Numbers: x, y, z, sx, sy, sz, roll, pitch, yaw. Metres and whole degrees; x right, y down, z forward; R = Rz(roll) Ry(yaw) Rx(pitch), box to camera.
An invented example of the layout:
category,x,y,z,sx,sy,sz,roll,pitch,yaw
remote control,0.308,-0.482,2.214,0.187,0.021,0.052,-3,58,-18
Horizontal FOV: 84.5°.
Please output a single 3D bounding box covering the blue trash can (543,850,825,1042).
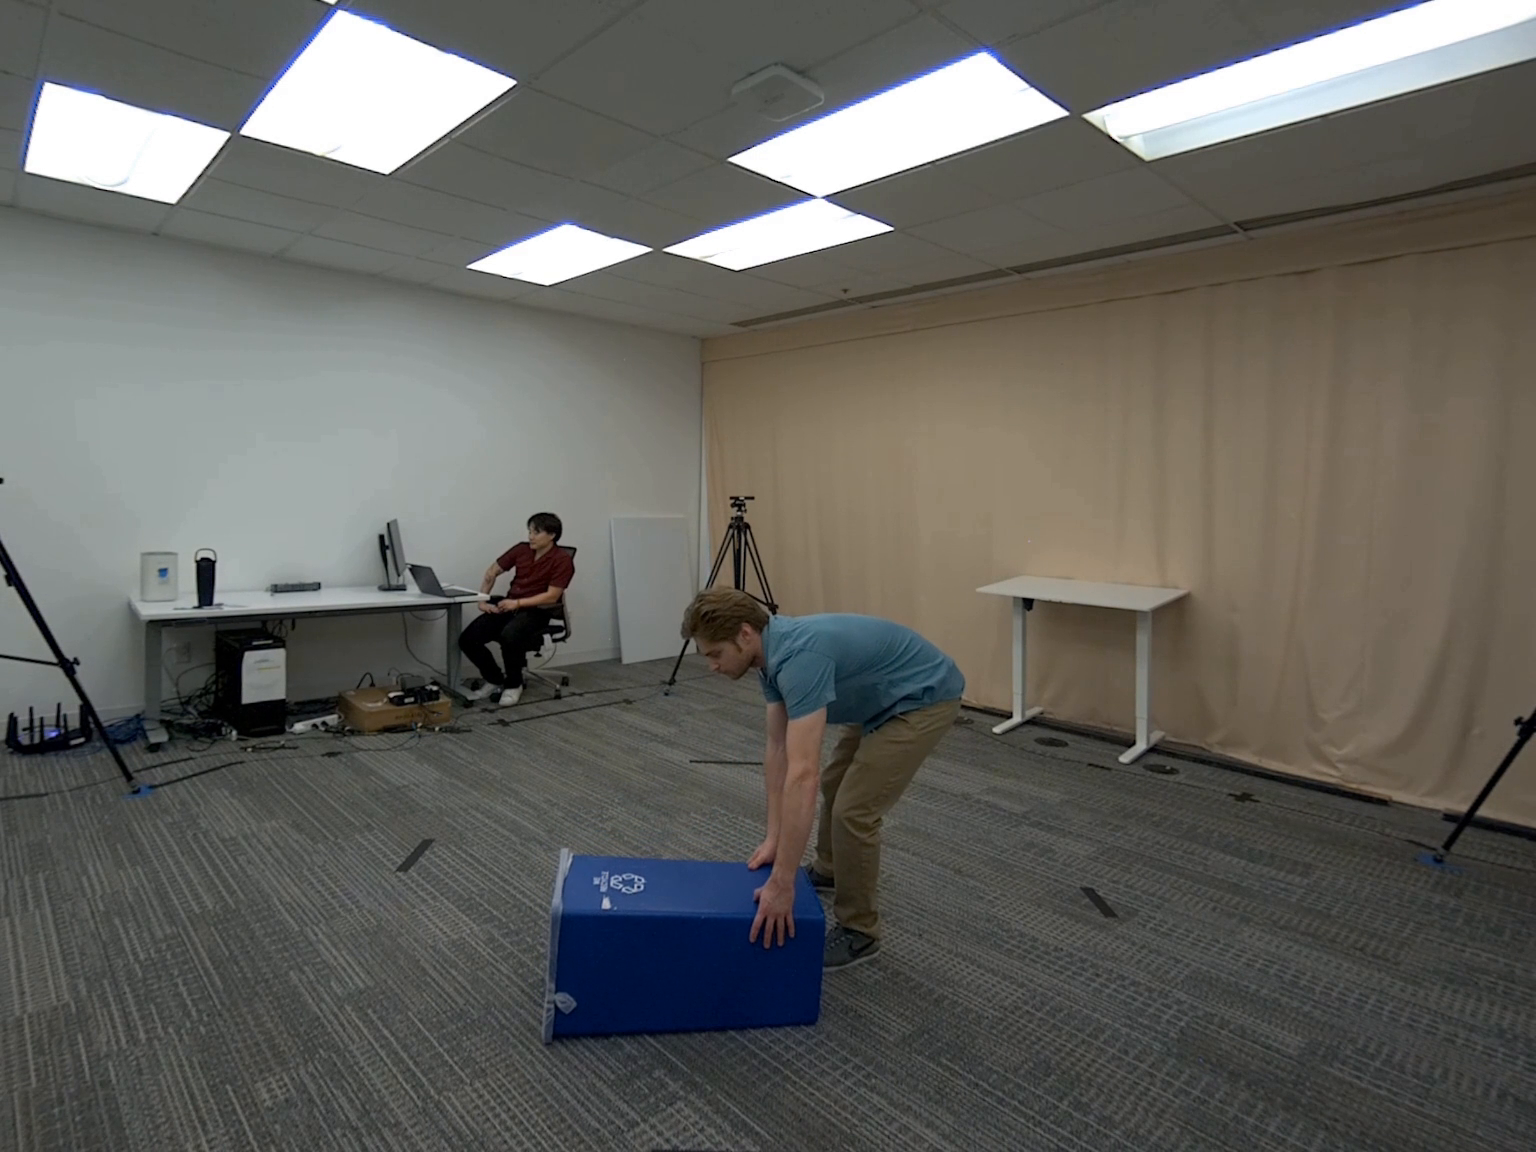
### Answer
category,x,y,z,sx,sy,sz,roll,pitch,yaw
blue trash can,-0.241,1.010,2.317,0.708,0.377,0.378,4,5,-9
